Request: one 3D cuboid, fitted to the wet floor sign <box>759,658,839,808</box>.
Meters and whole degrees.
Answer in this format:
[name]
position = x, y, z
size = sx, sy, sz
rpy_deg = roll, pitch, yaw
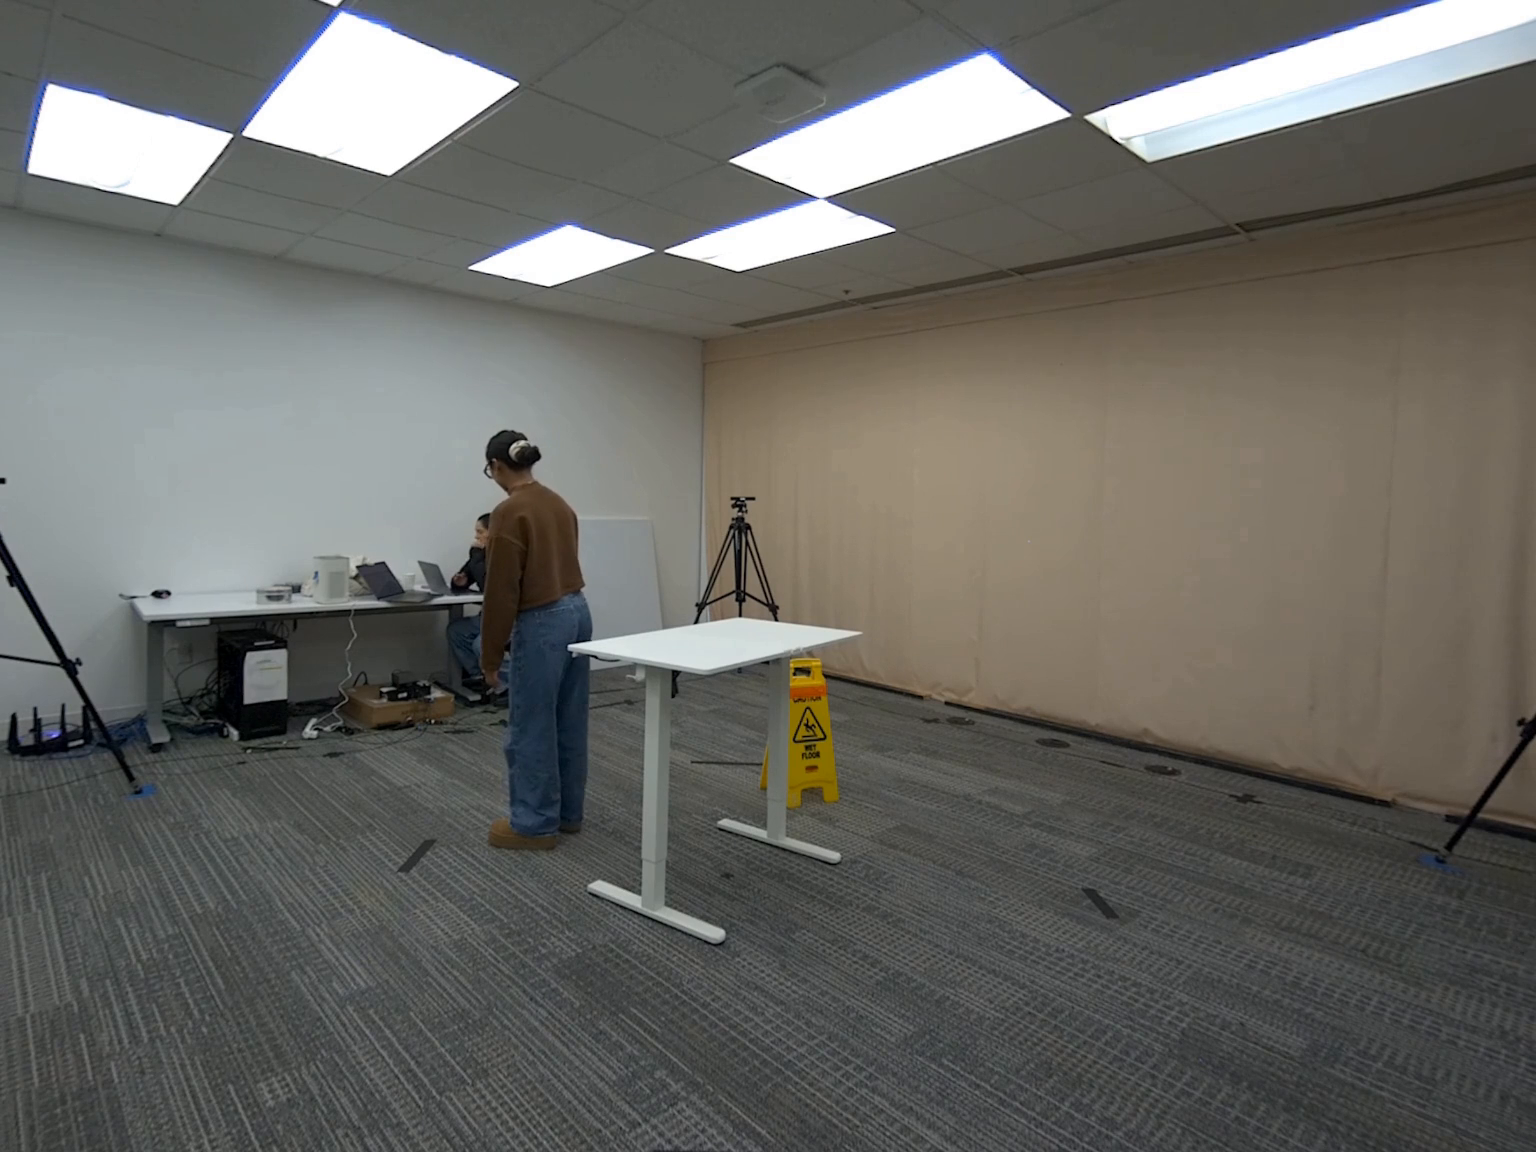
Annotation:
[wet floor sign]
position = 0.143, 0.717, 3.990
size = 0.277, 0.645, 0.295
rpy_deg = 0, 3, -26
